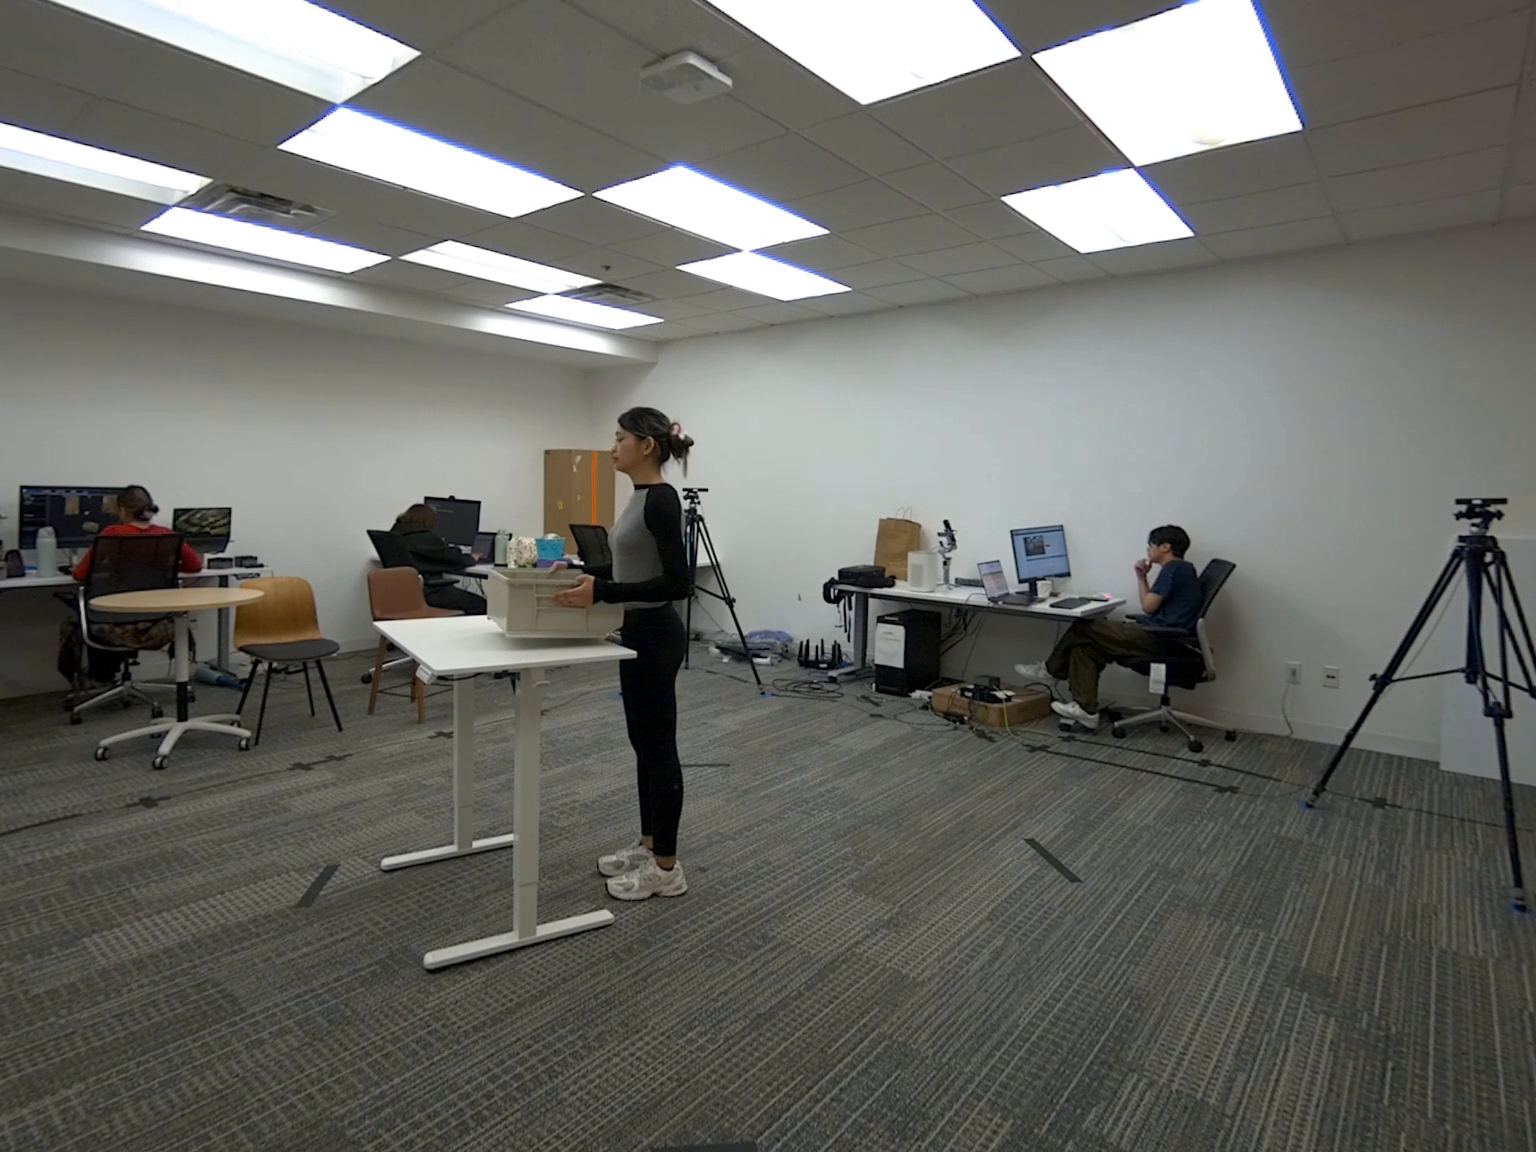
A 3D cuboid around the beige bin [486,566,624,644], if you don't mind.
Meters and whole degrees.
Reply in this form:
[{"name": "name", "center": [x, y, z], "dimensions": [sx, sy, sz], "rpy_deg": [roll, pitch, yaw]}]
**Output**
[{"name": "beige bin", "center": [-0.727, 0.084, 2.833], "dimensions": [0.368, 0.188, 0.434], "rpy_deg": [-1, 6, -25]}]
